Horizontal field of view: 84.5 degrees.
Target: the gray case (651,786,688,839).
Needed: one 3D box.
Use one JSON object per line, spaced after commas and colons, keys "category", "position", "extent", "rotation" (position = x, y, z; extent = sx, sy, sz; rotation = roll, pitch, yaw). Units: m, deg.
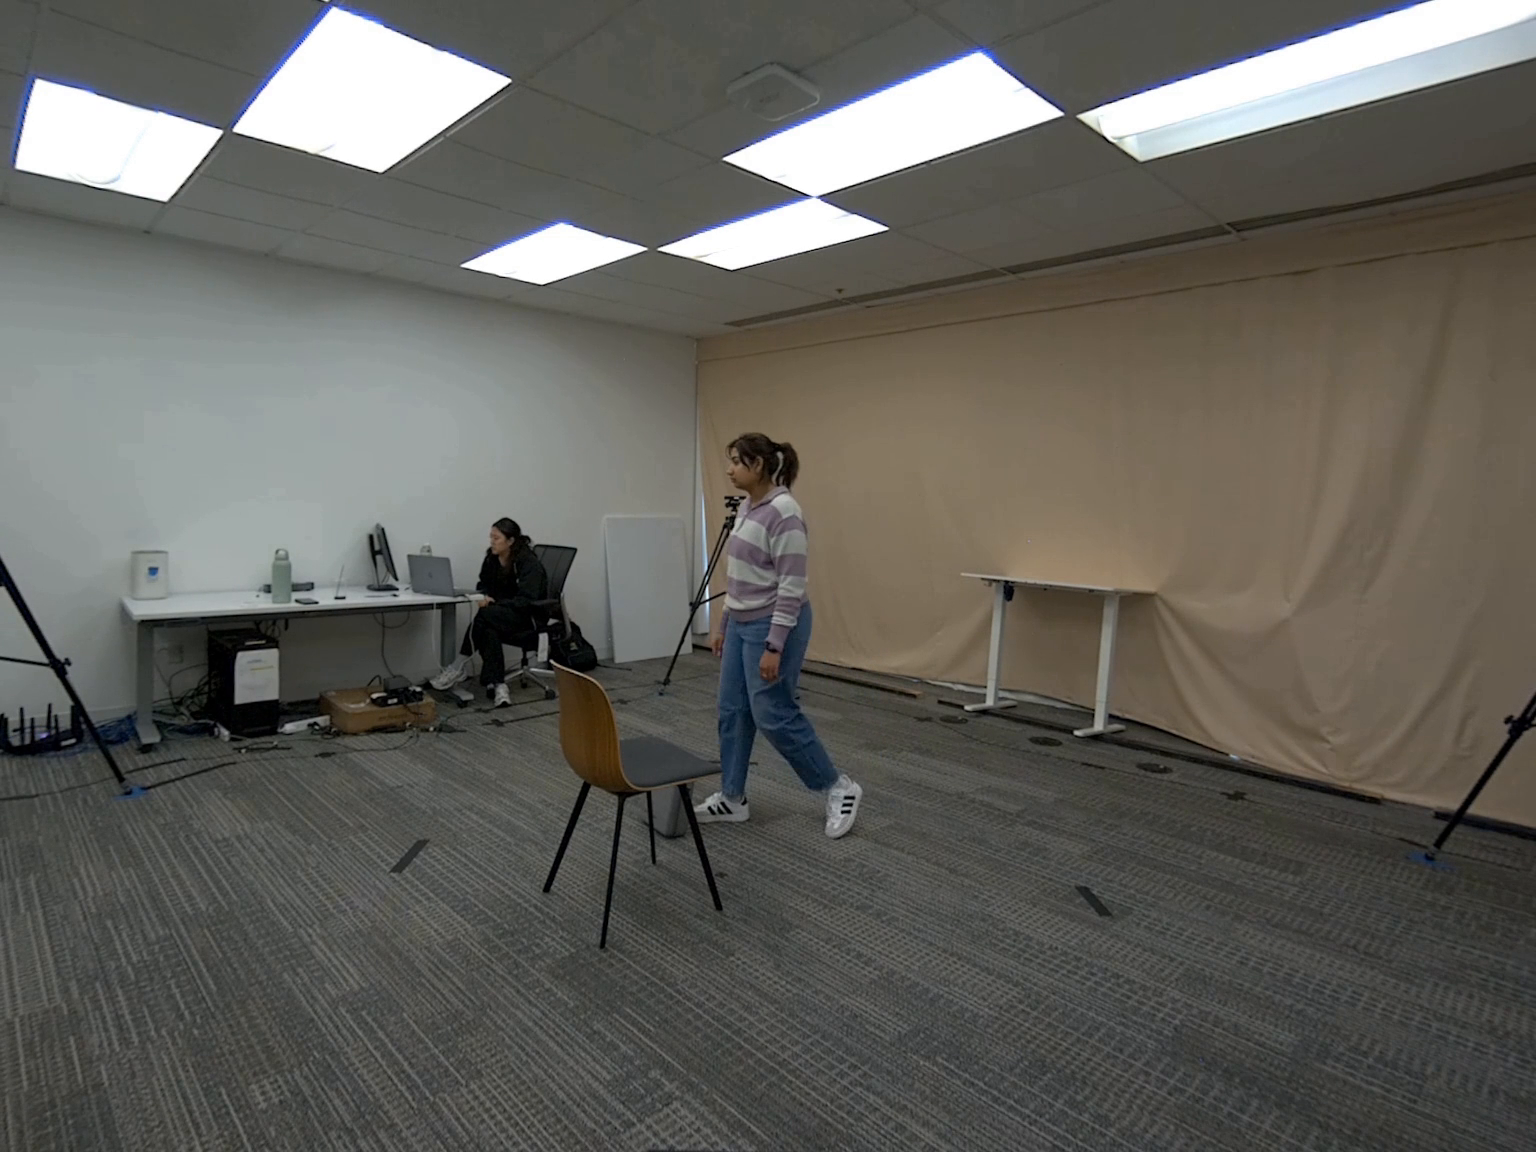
{"category": "gray case", "position": [-0.433, 0.925, 3.526], "extent": [0.102, 0.261, 0.262], "rotation": [7, -1, -31]}
